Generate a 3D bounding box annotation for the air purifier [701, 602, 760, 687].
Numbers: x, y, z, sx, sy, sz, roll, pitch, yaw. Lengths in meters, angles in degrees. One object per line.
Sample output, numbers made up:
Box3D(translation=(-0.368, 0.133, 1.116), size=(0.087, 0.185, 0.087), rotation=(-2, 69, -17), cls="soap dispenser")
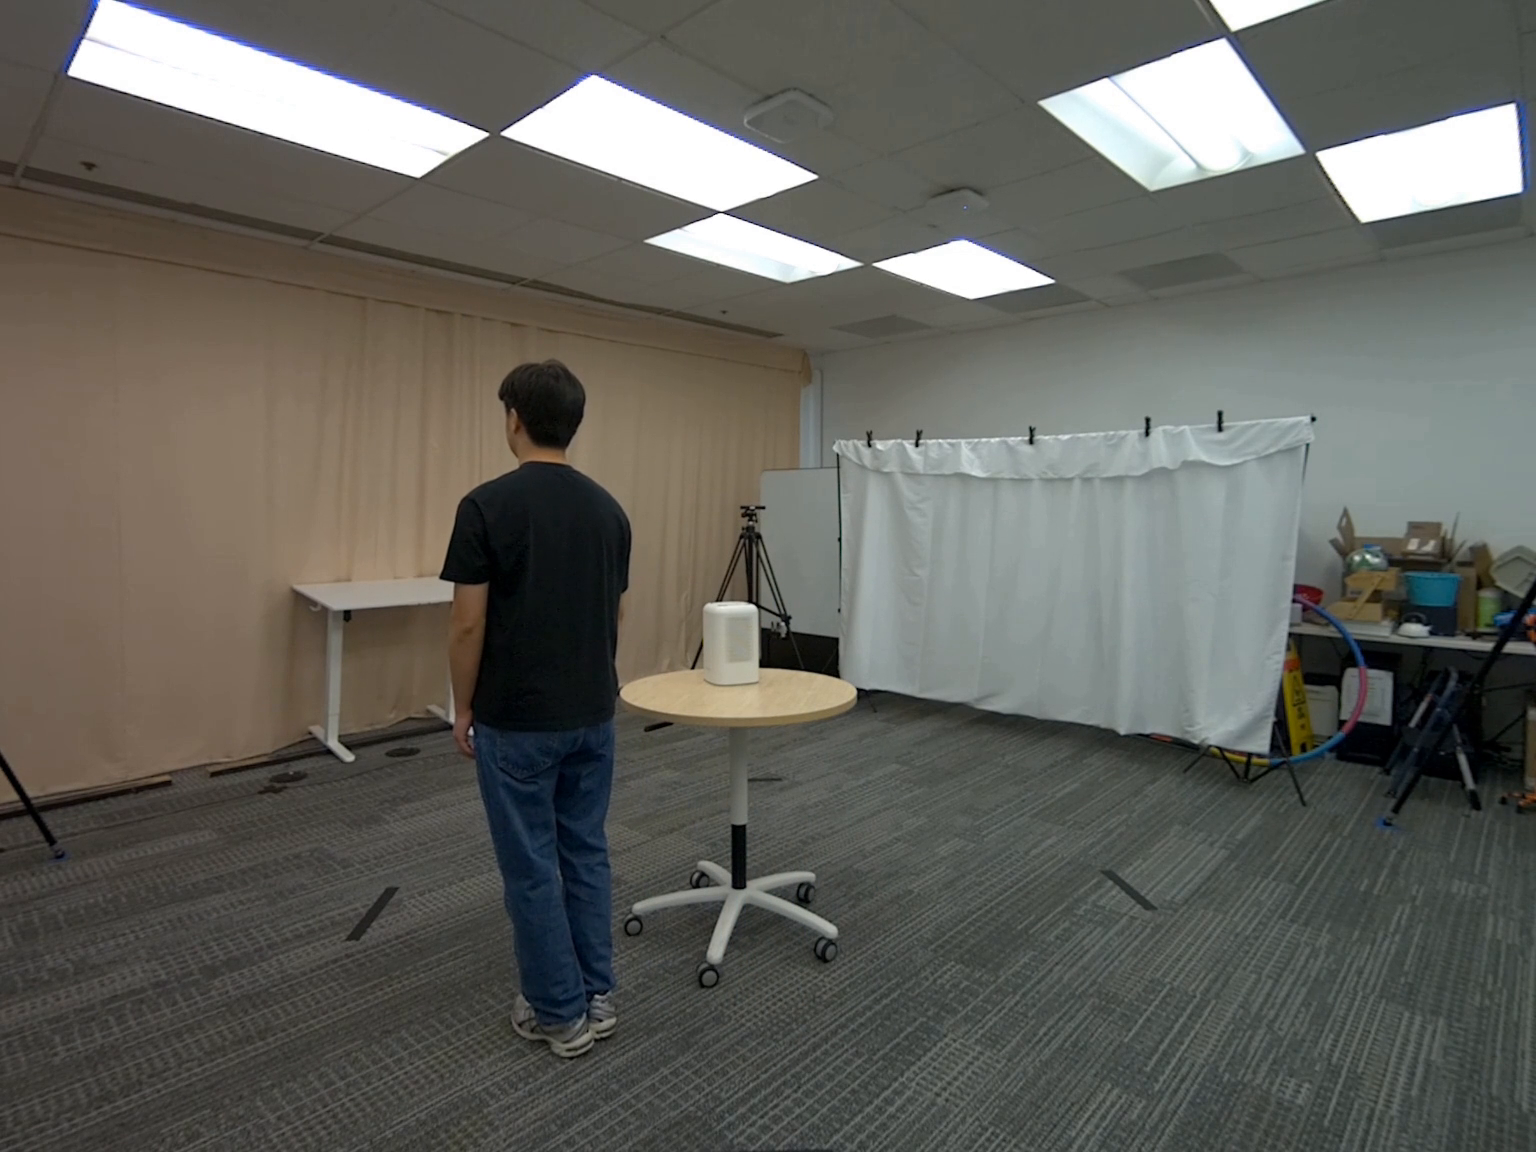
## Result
Box3D(translation=(-0.122, 0.227, 2.876), size=(0.168, 0.265, 0.175), rotation=(-2, 3, -20), cls="air purifier")
